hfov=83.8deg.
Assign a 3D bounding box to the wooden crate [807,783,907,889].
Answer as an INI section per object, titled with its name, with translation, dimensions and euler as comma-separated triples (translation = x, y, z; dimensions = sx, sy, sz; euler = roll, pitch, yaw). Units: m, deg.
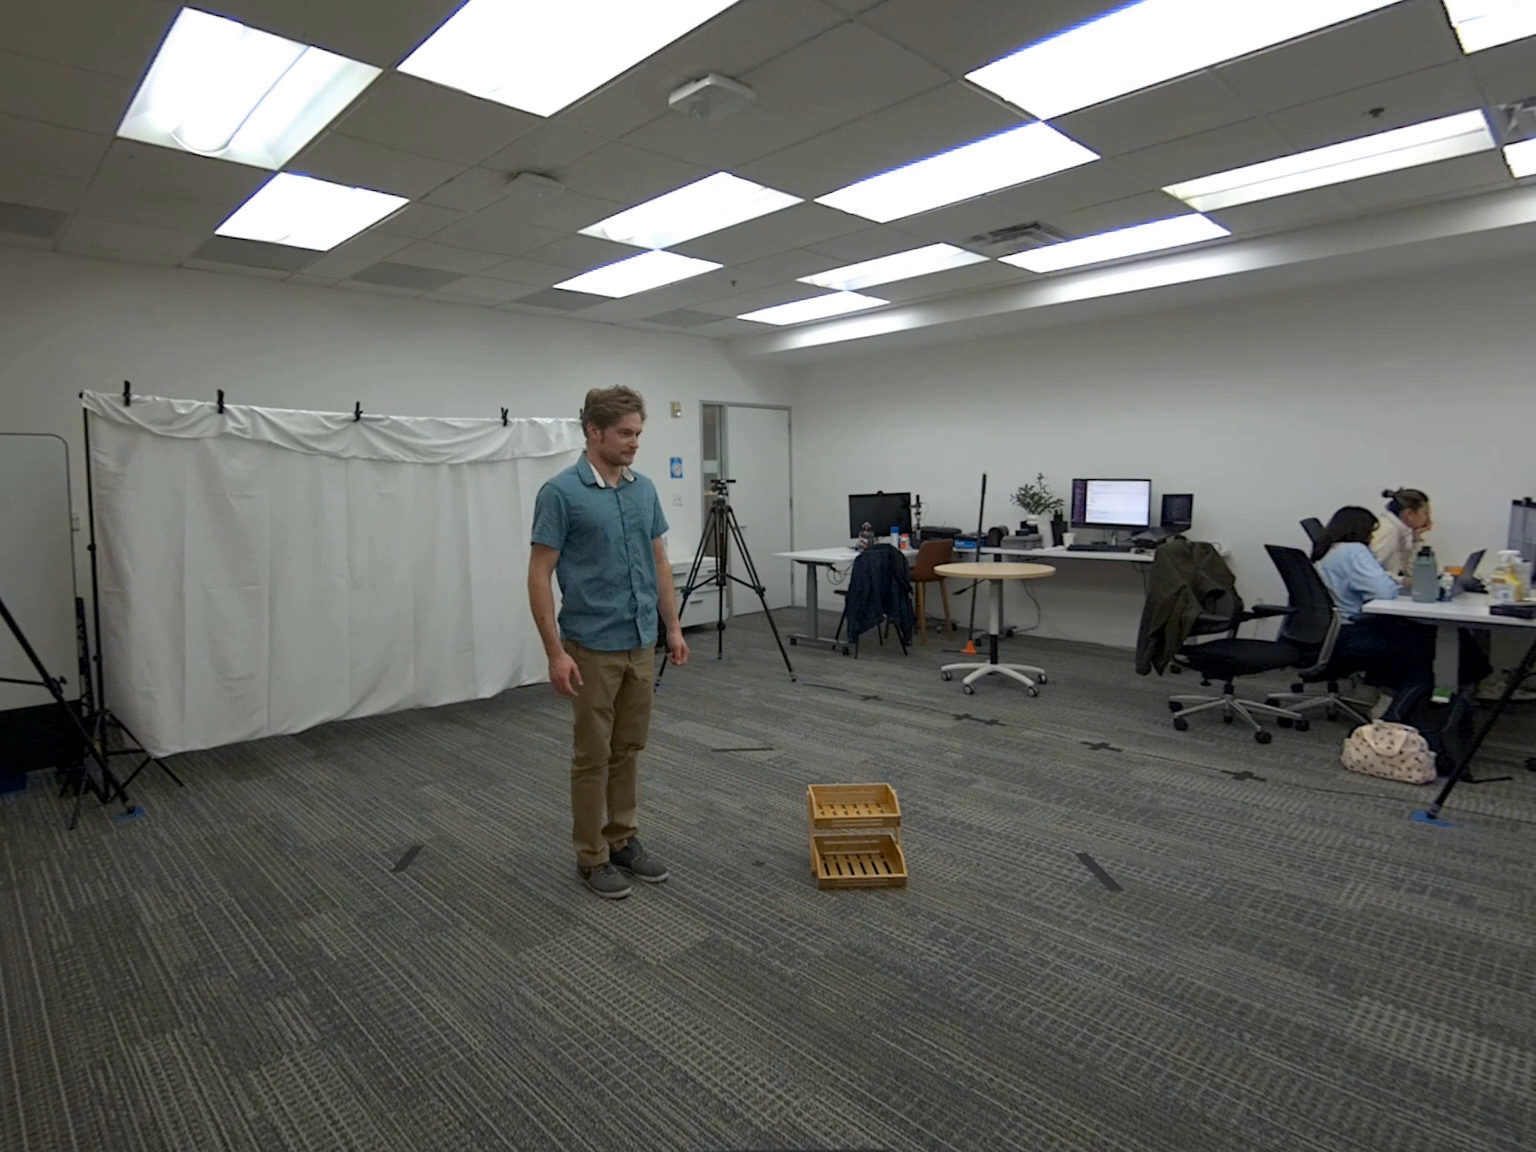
[wooden crate]
translation = 0.318, 0.913, 3.029
dimensions = 0.324, 0.272, 0.304
euler = -2, 4, -3
